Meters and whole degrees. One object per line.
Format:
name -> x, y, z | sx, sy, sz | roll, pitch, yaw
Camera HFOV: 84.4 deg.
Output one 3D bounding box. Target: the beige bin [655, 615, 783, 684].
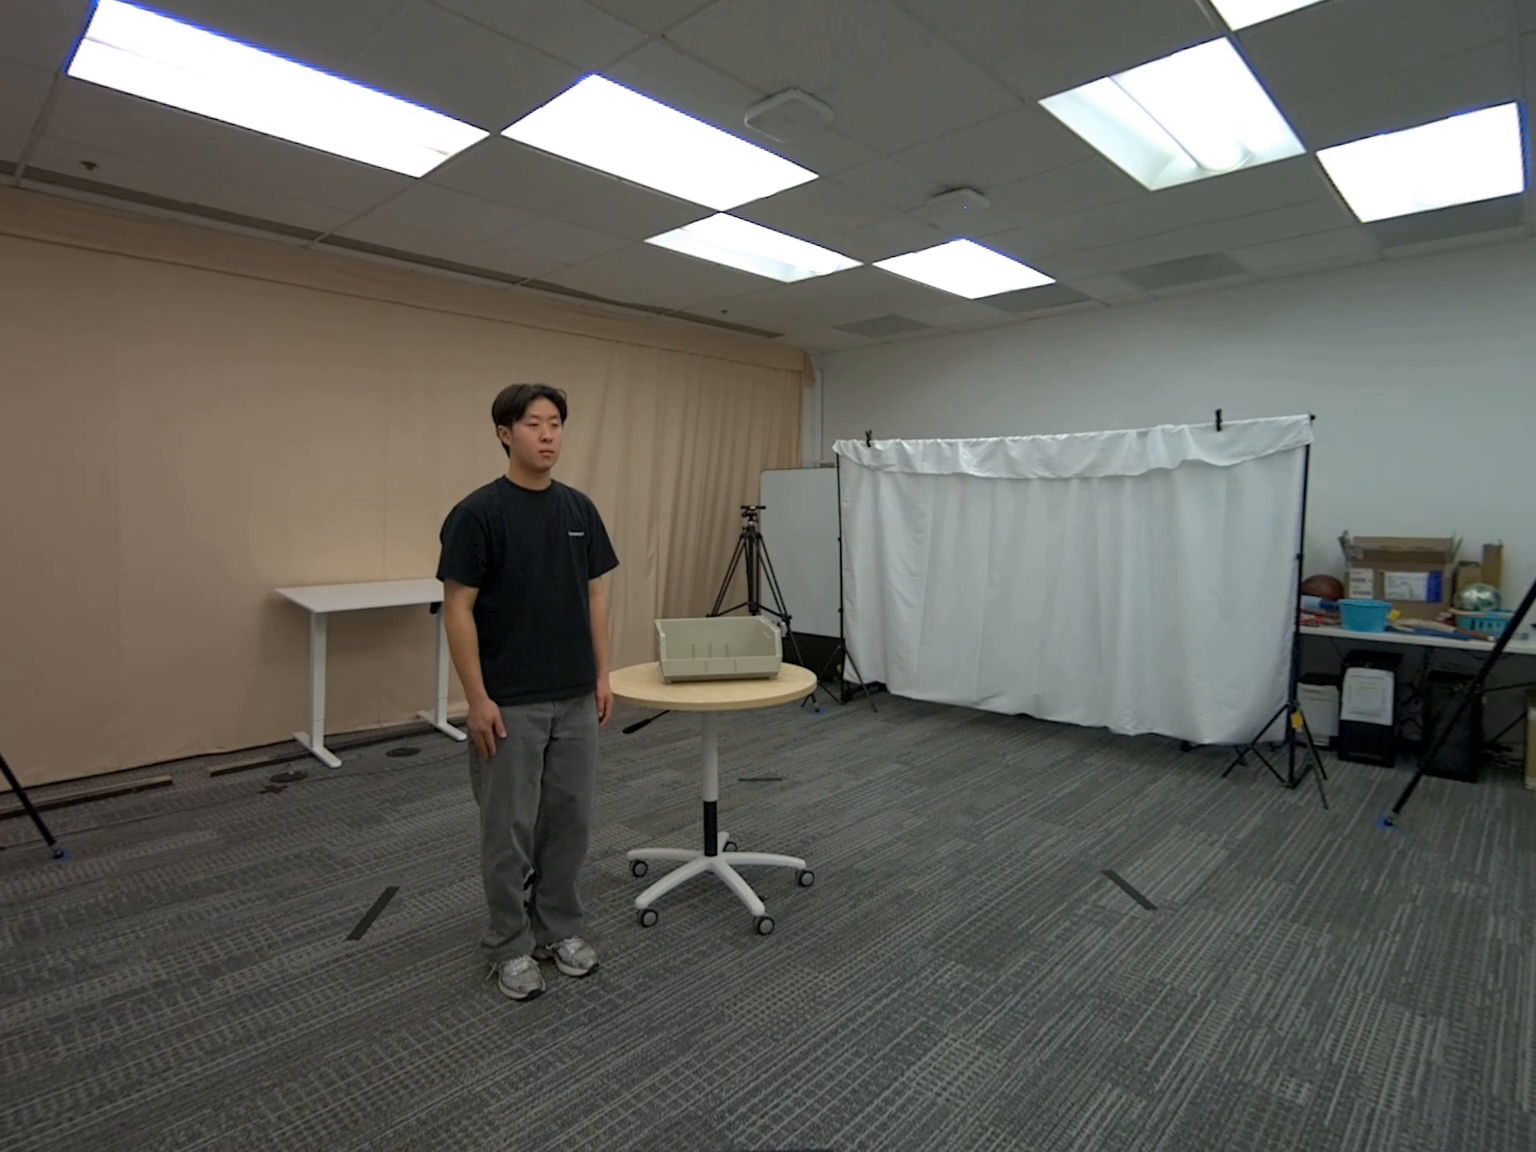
beige bin -> -0.185, 0.268, 3.054 | 0.419, 0.188, 0.381 | -2, 4, -8
